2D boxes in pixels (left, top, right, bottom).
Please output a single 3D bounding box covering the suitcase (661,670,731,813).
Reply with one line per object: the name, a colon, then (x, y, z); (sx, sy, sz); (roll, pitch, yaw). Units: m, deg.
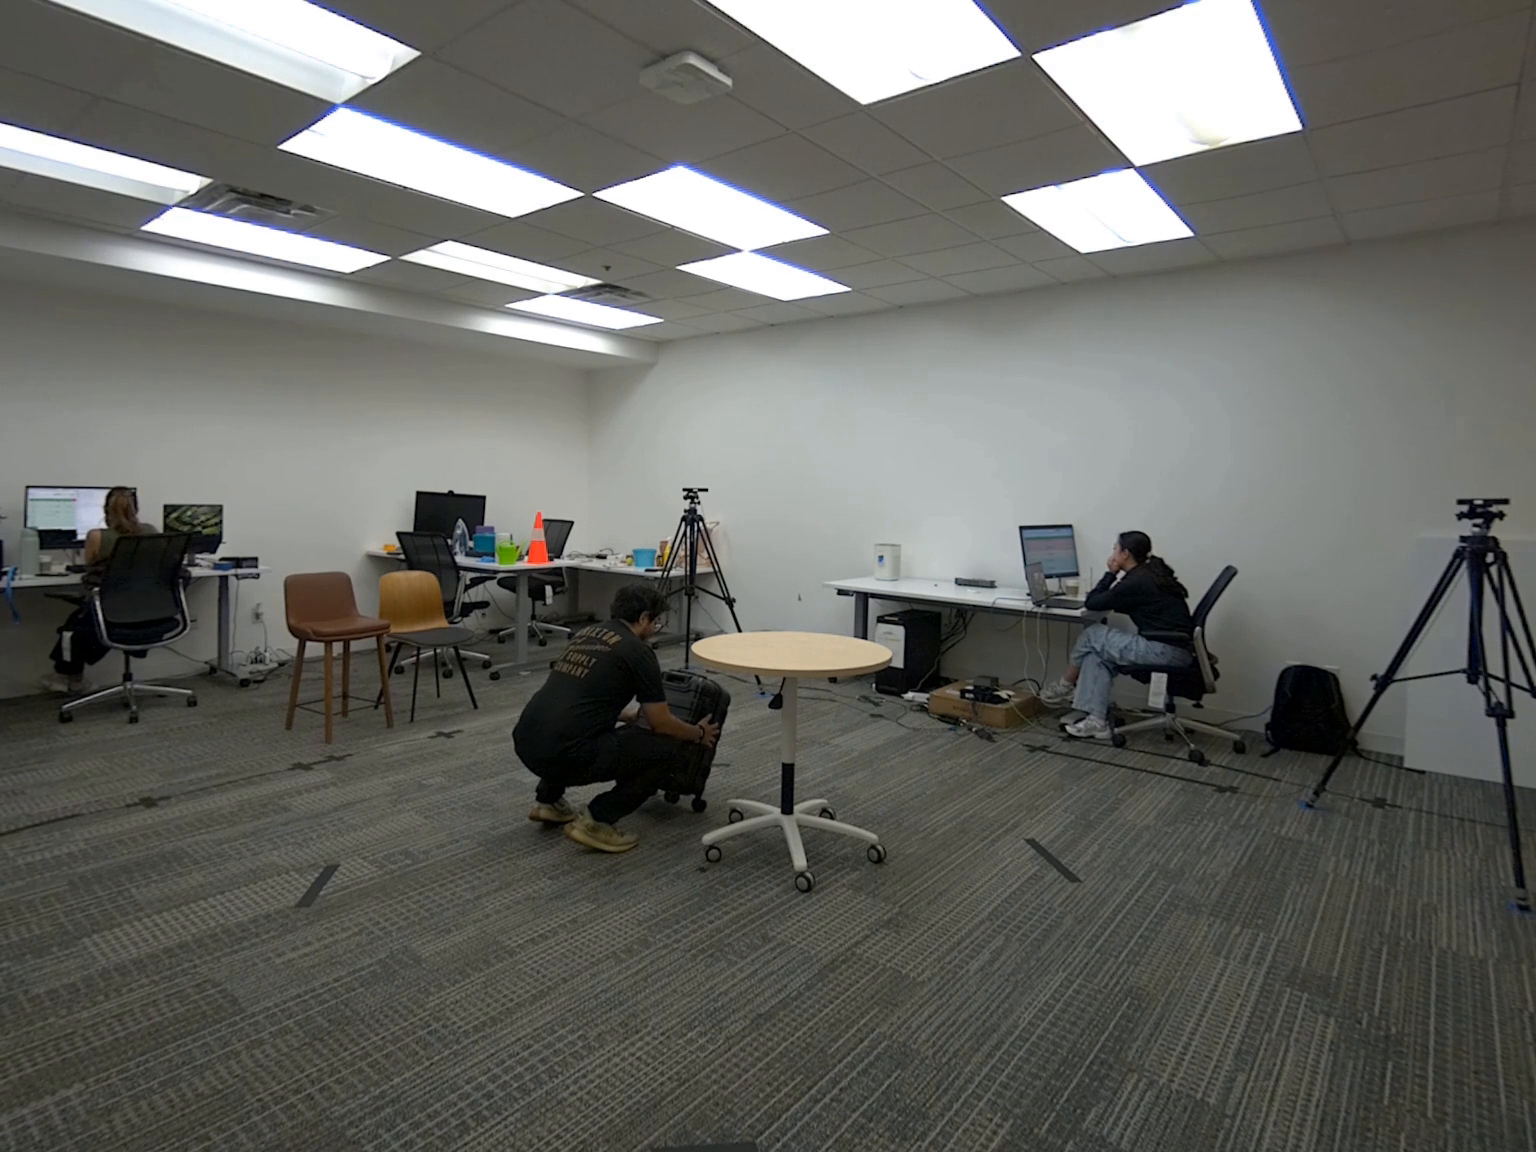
suitcase: (-0.418, 0.708, 3.778); (0.388, 0.554, 0.238); (3, -20, 40)
